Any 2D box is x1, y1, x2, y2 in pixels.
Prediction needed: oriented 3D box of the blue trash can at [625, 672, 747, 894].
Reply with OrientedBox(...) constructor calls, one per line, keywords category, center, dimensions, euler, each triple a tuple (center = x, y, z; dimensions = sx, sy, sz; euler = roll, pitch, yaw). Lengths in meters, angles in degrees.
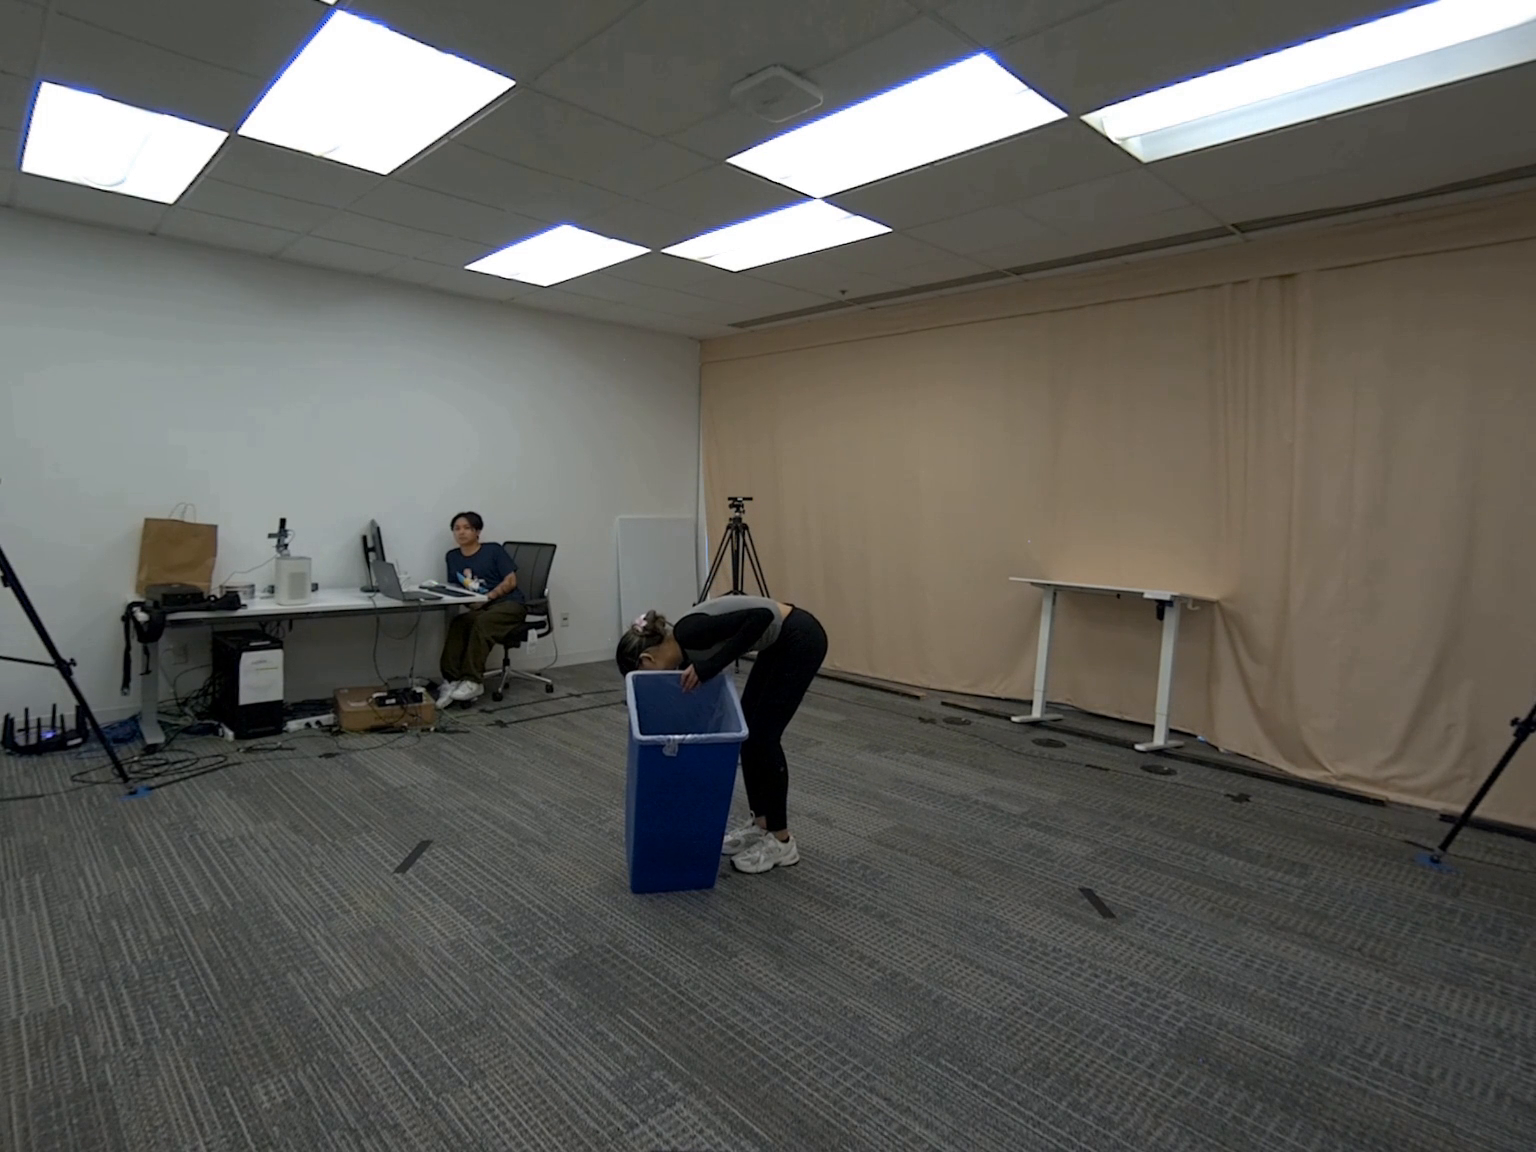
OrientedBox(category="blue trash can", center=(-0.331, 0.729, 2.949), dimensions=(0.374, 0.703, 0.384), euler=(1, 28, -15))
